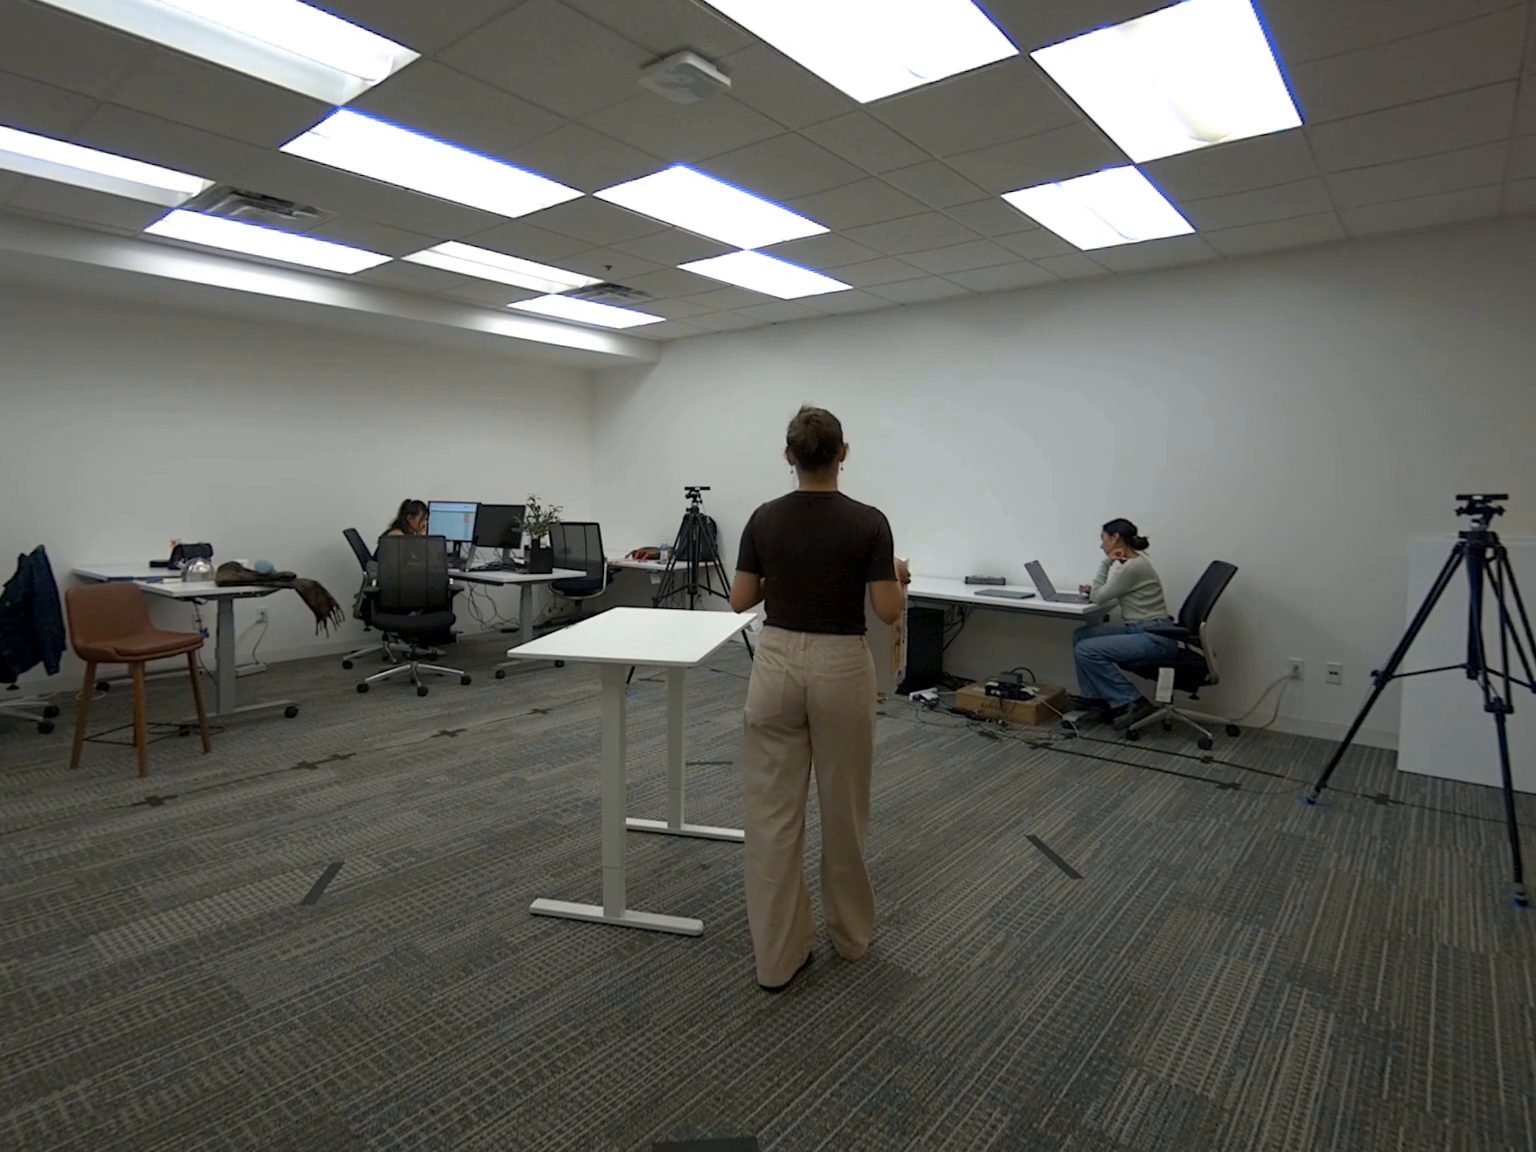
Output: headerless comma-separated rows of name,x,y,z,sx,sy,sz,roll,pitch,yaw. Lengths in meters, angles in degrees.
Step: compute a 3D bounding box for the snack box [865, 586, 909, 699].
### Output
snack box,0.257,0.137,2.757,0.348,0.402,0.202,4,9,21
